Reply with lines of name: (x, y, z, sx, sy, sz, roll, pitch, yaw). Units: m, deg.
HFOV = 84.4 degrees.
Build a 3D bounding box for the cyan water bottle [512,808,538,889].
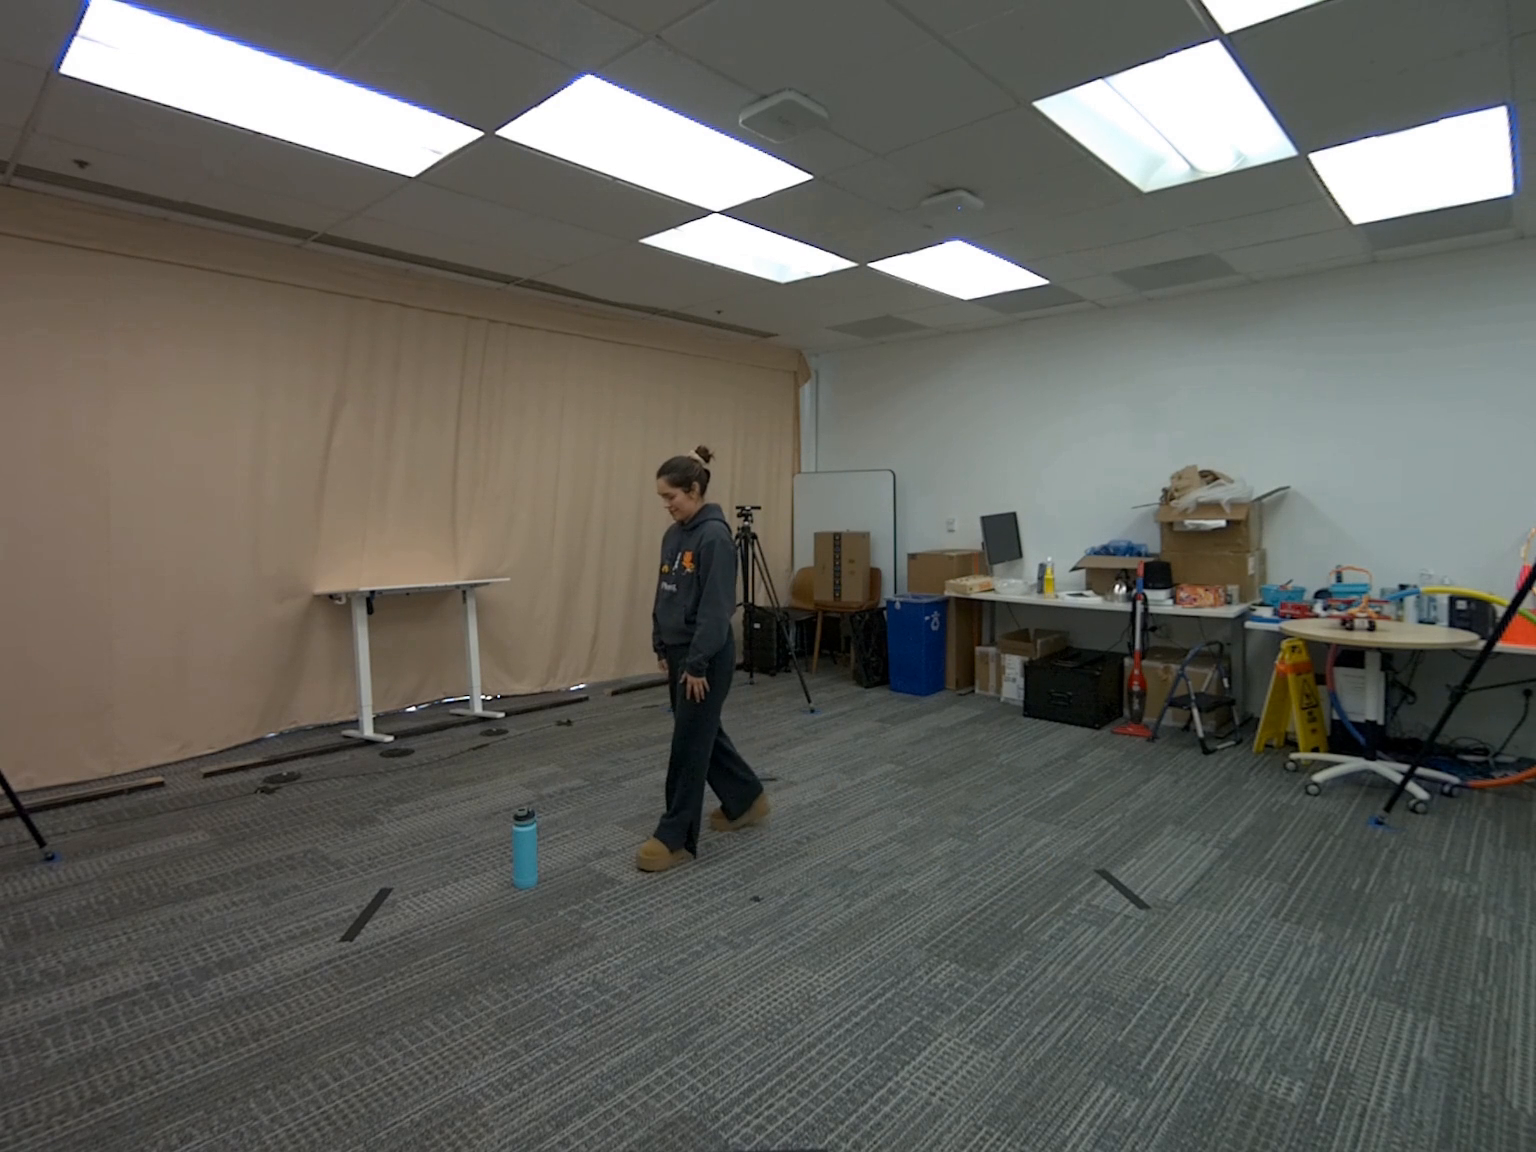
cyan water bottle: (-0.885, 1.010, 3.122, 0.092, 0.283, 0.092, -1, 1, -2)
